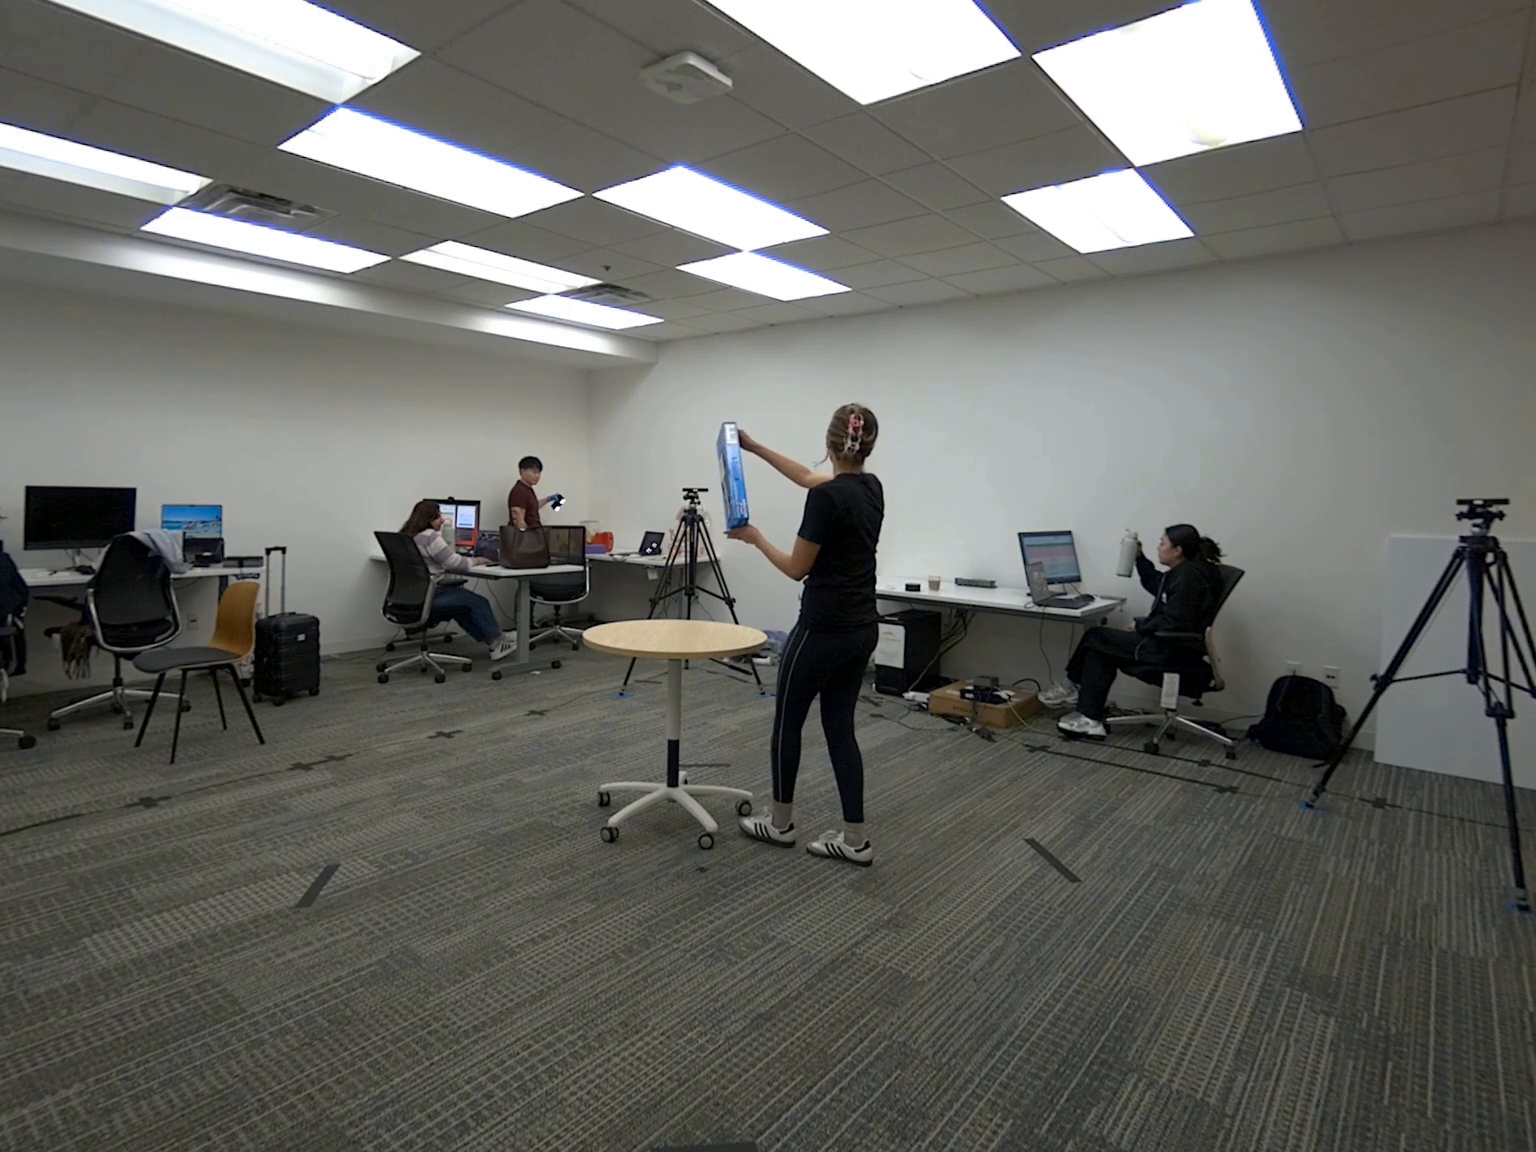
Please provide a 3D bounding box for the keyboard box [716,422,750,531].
[{"bbox_3d":[-0.163,-0.392,3.443,0.058,0.447,0.174,-3,-24,-12],"label":"keyboard box"}]
